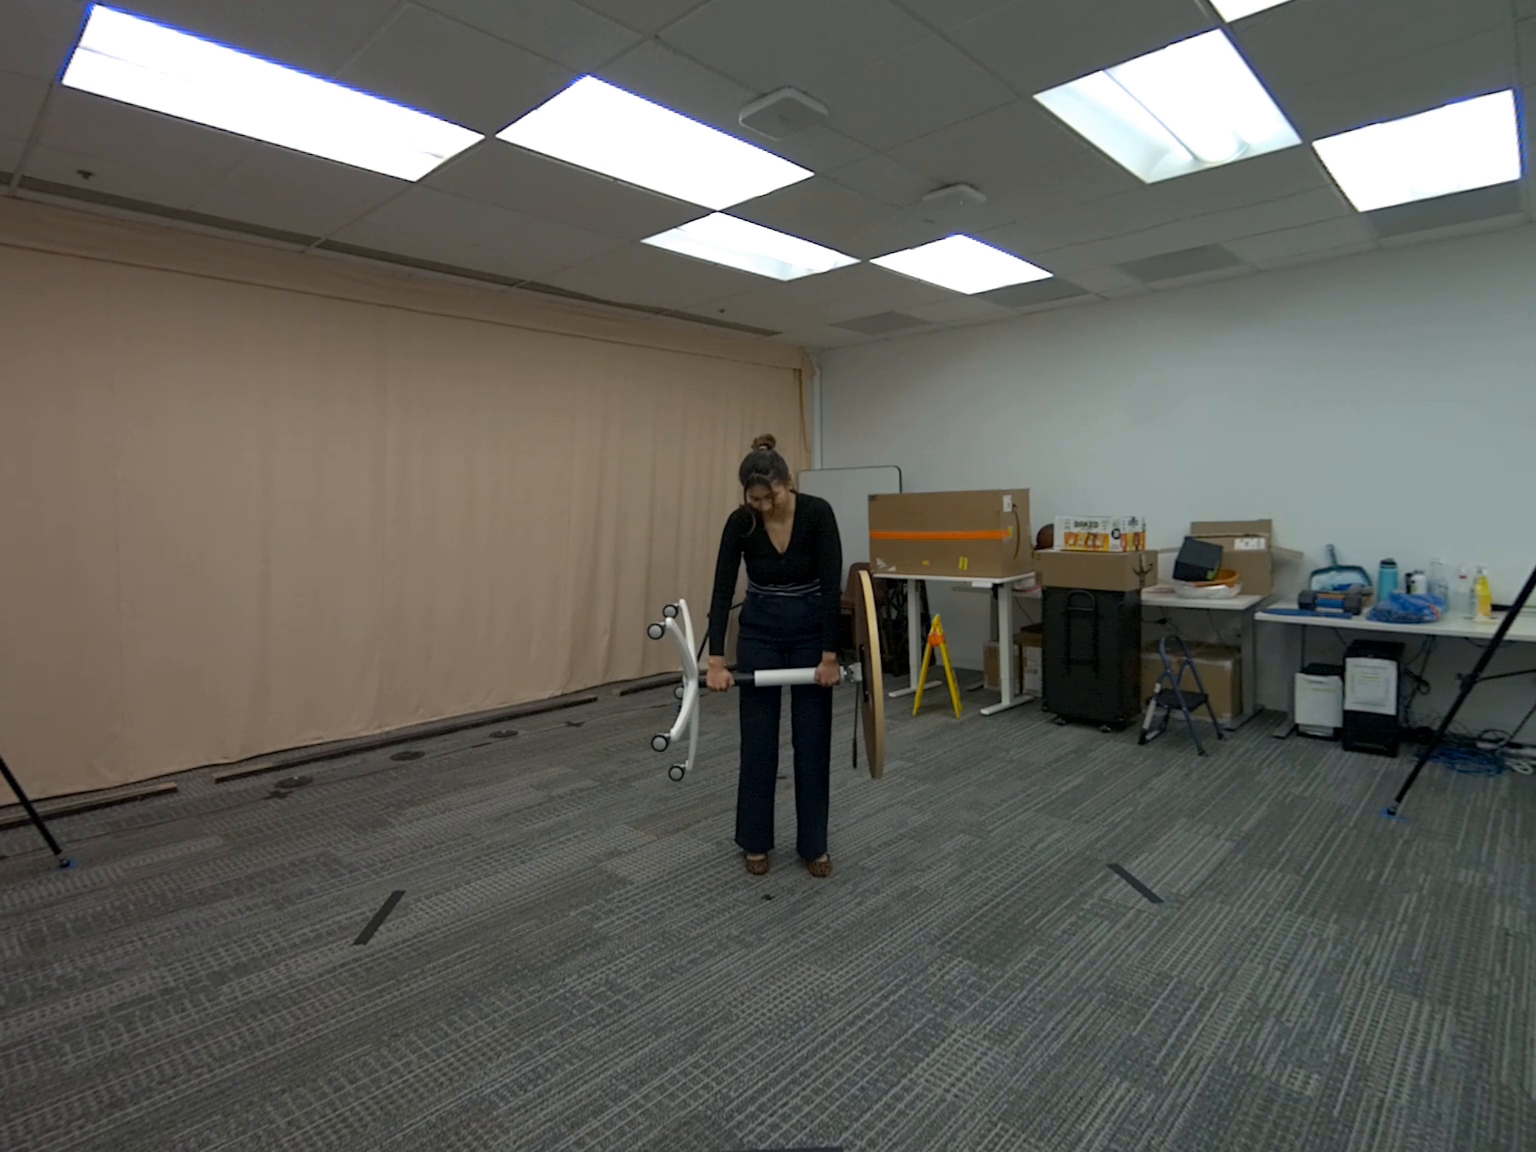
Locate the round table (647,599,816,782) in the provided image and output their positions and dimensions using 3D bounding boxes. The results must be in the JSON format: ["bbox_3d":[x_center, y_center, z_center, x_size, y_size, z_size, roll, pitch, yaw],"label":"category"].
[{"bbox_3d":[-0.008,0.392,3.179,0.798,0.762,0.762,-4,4,4],"label":"round table"}]
